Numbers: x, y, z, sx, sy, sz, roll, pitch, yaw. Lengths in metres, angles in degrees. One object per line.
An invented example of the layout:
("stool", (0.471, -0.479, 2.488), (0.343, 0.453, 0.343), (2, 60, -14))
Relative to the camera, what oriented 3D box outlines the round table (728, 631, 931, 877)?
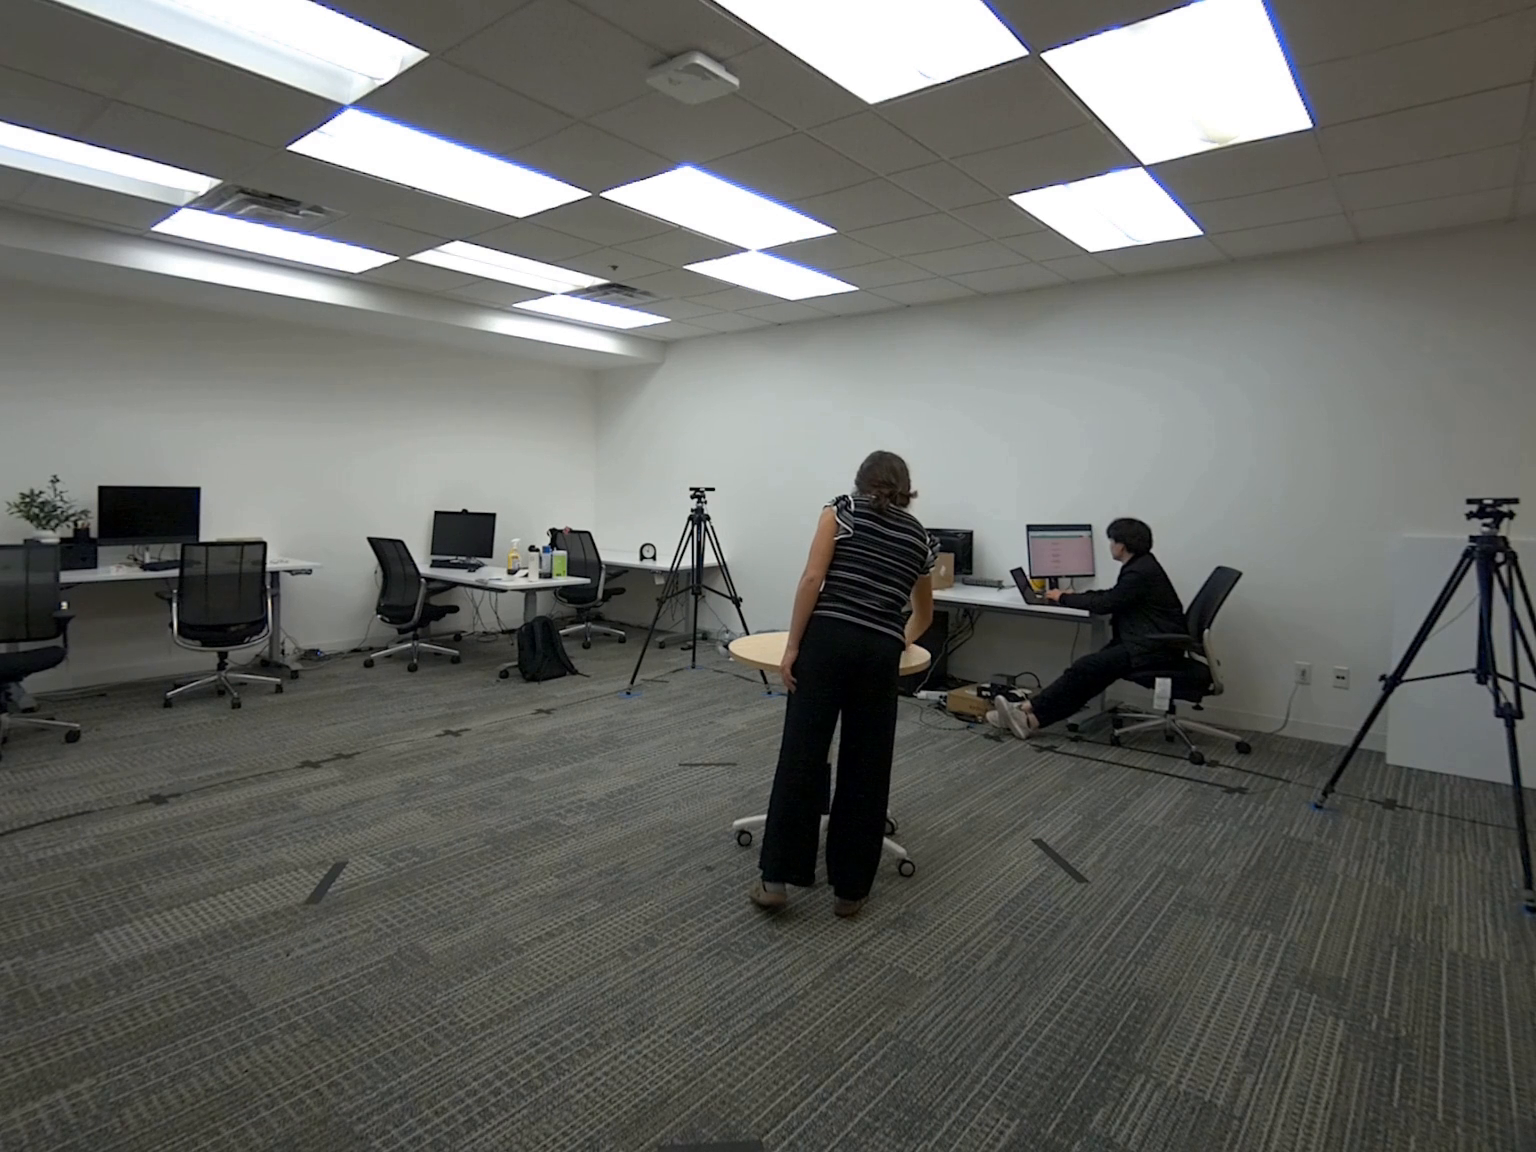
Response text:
("round table", (0.215, 0.665, 3.294), (0.763, 0.791, 0.768), (1, 5, -2))
